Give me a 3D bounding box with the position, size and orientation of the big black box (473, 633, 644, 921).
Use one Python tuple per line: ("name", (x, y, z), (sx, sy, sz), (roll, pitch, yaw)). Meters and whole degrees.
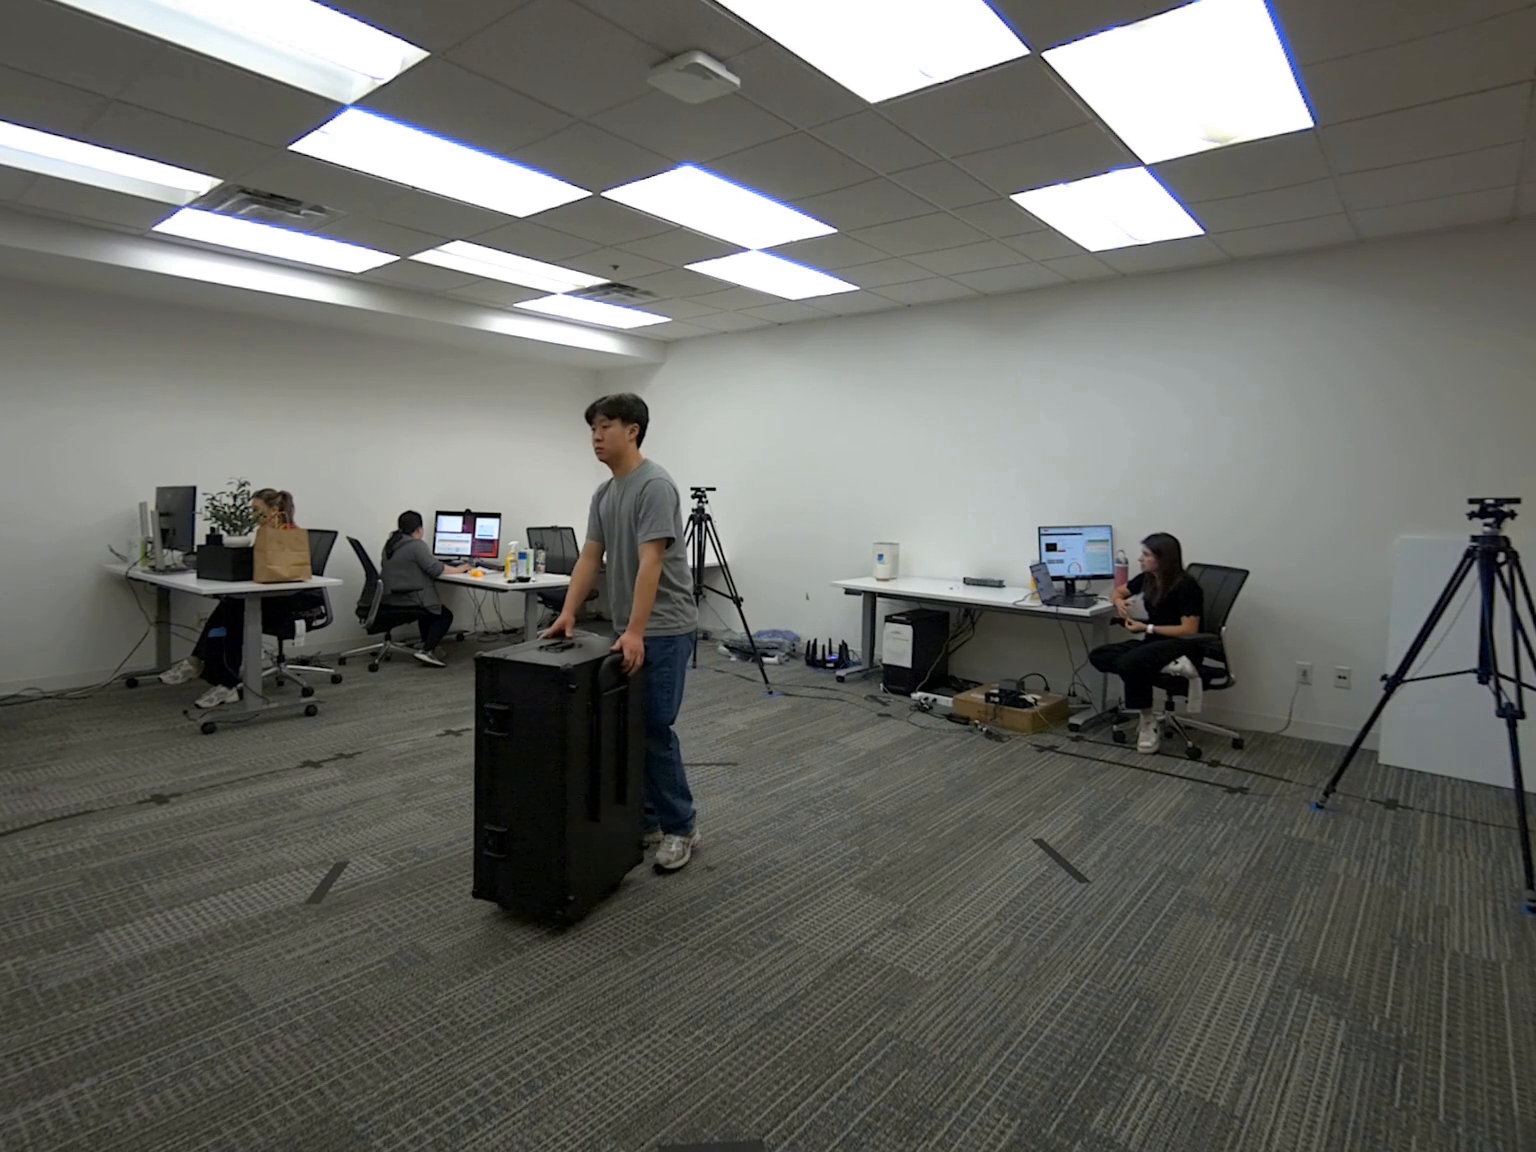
("big black box", (-0.684, 0.665, 2.832), (0.406, 0.859, 0.510), (3, 4, 23))
